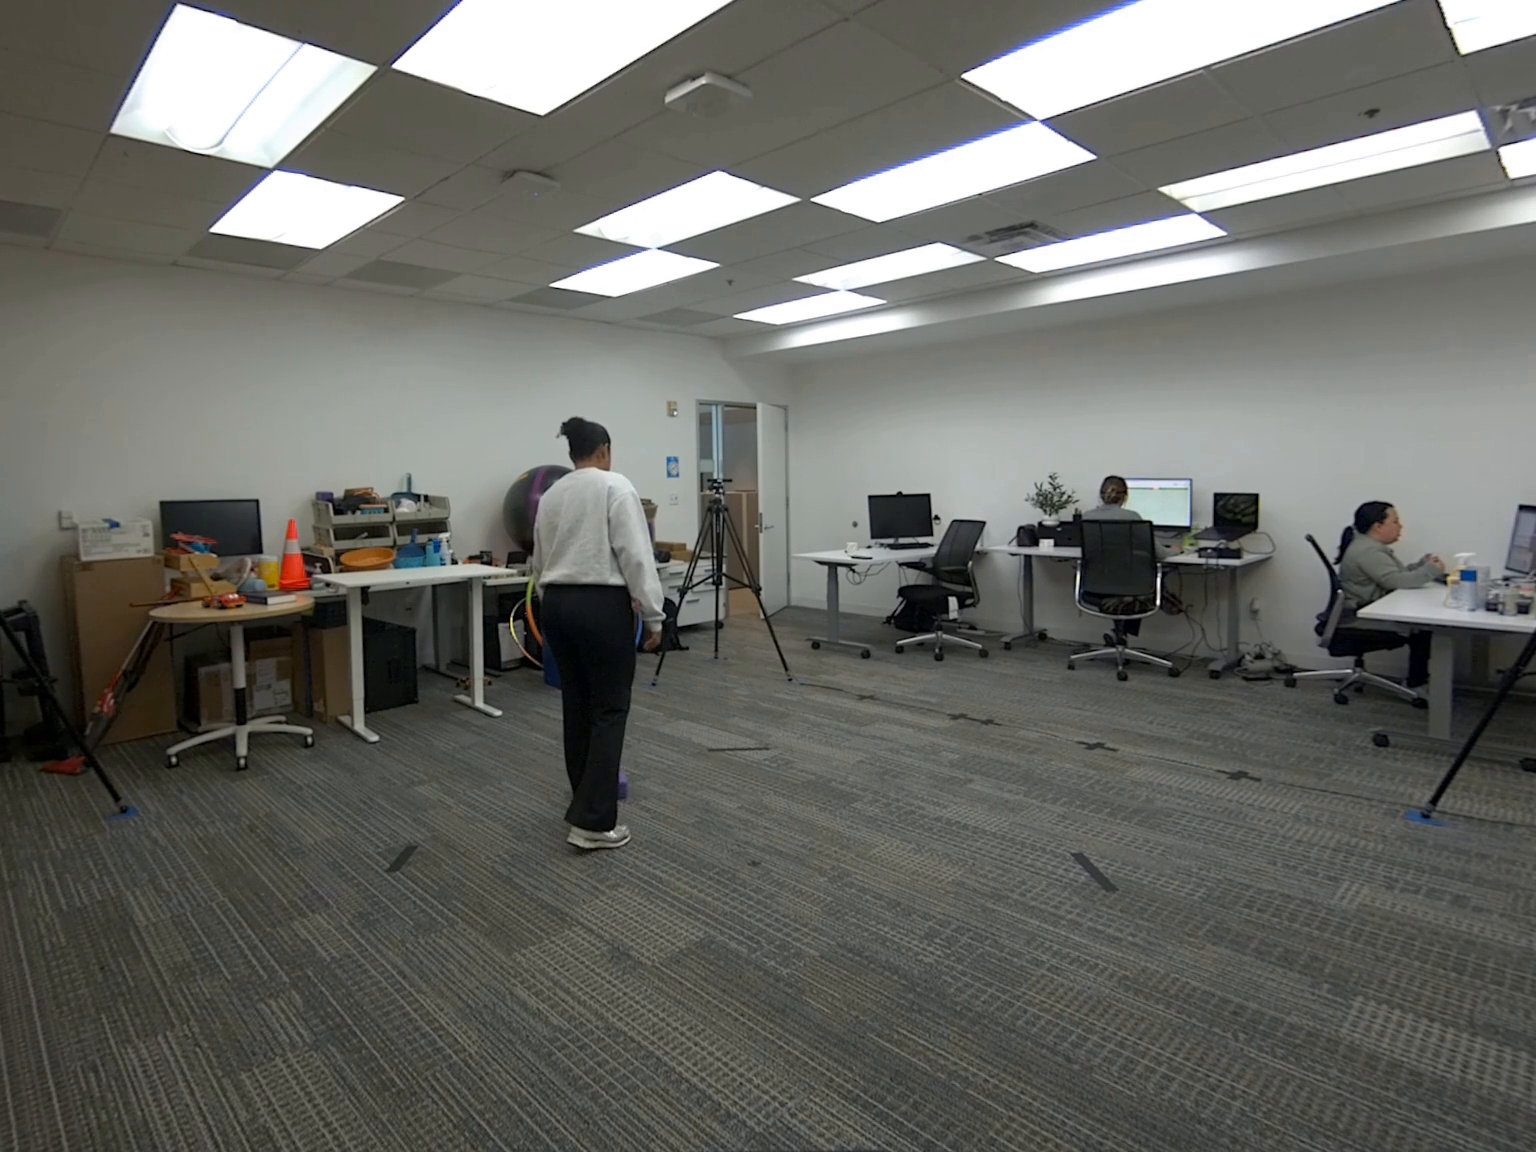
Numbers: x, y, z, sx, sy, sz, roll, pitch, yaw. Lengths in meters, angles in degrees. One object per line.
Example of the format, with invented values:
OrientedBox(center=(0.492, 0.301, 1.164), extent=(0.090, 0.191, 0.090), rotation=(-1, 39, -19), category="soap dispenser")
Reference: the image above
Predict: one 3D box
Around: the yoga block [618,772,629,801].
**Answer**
OrientedBox(center=(-0.741, 0.942, 3.824), extent=(0.227, 0.076, 0.151), rotation=(-2, 6, -10), category="yoga block")
